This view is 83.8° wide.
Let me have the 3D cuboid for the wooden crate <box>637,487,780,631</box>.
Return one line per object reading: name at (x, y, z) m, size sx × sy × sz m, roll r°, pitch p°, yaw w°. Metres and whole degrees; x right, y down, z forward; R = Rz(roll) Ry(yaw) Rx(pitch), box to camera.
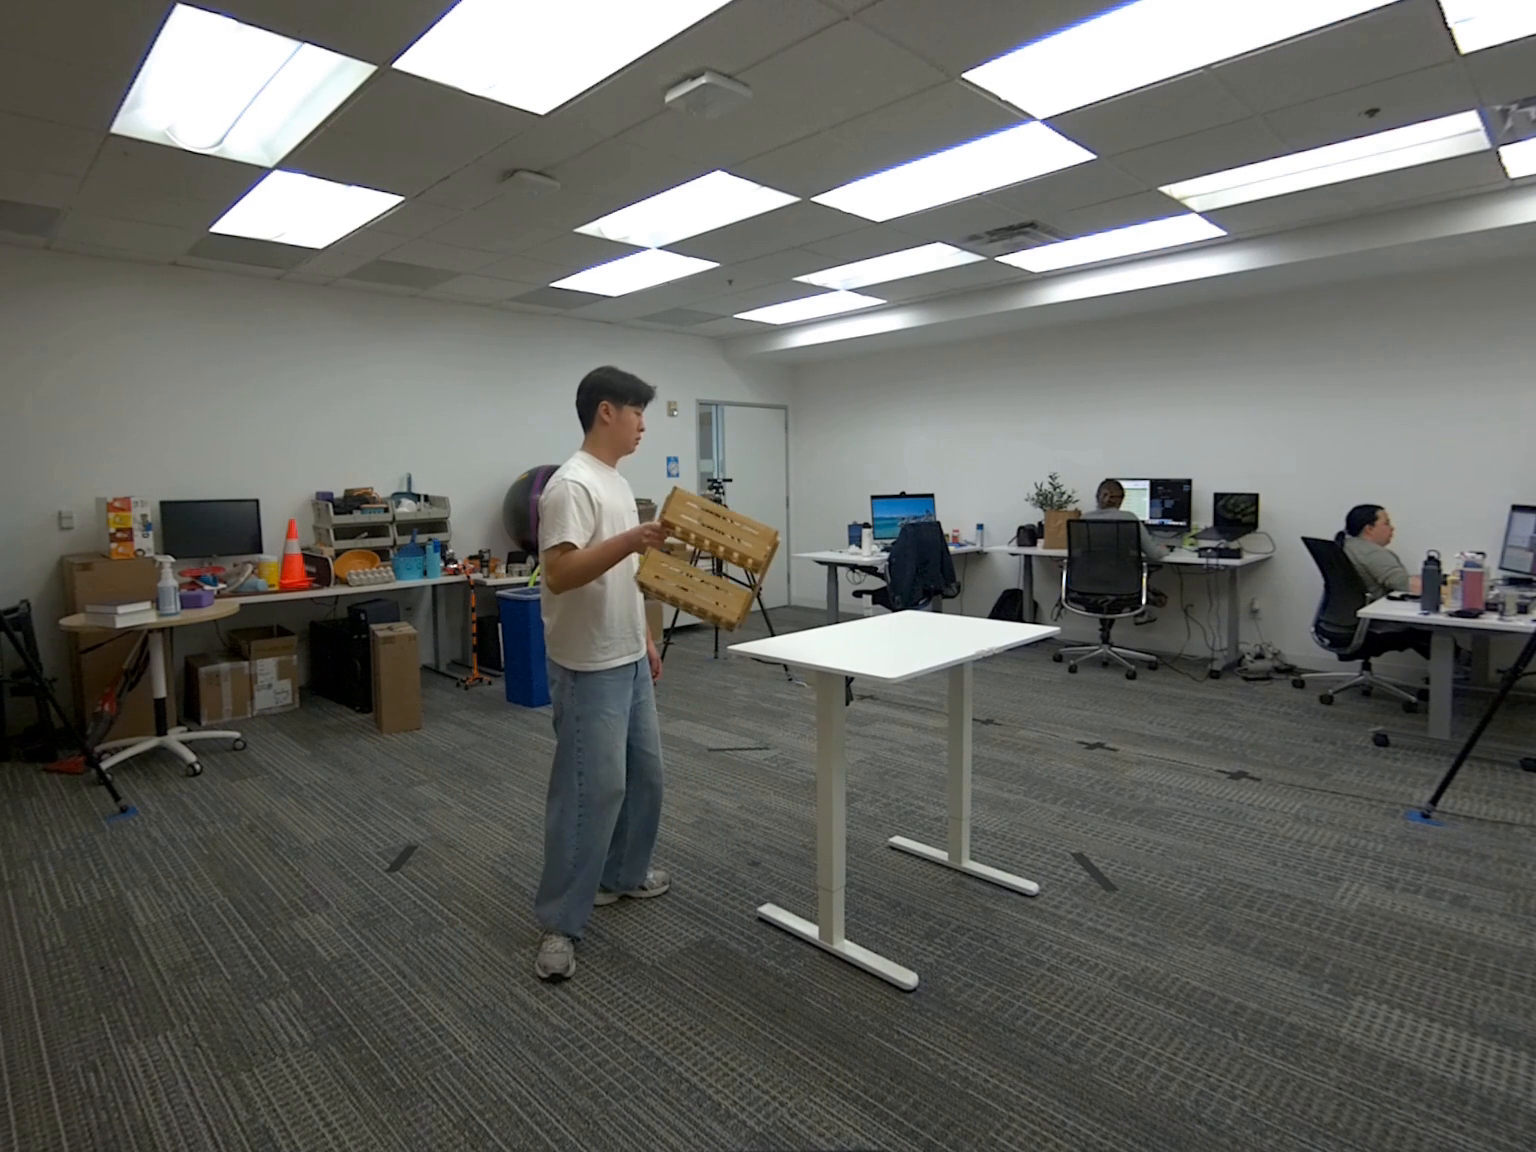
wooden crate at (-0.170, -0.035, 2.370) m, size 0.325 × 0.275 × 0.300 m, roll 24°, pitch -12°, yaw 0°
